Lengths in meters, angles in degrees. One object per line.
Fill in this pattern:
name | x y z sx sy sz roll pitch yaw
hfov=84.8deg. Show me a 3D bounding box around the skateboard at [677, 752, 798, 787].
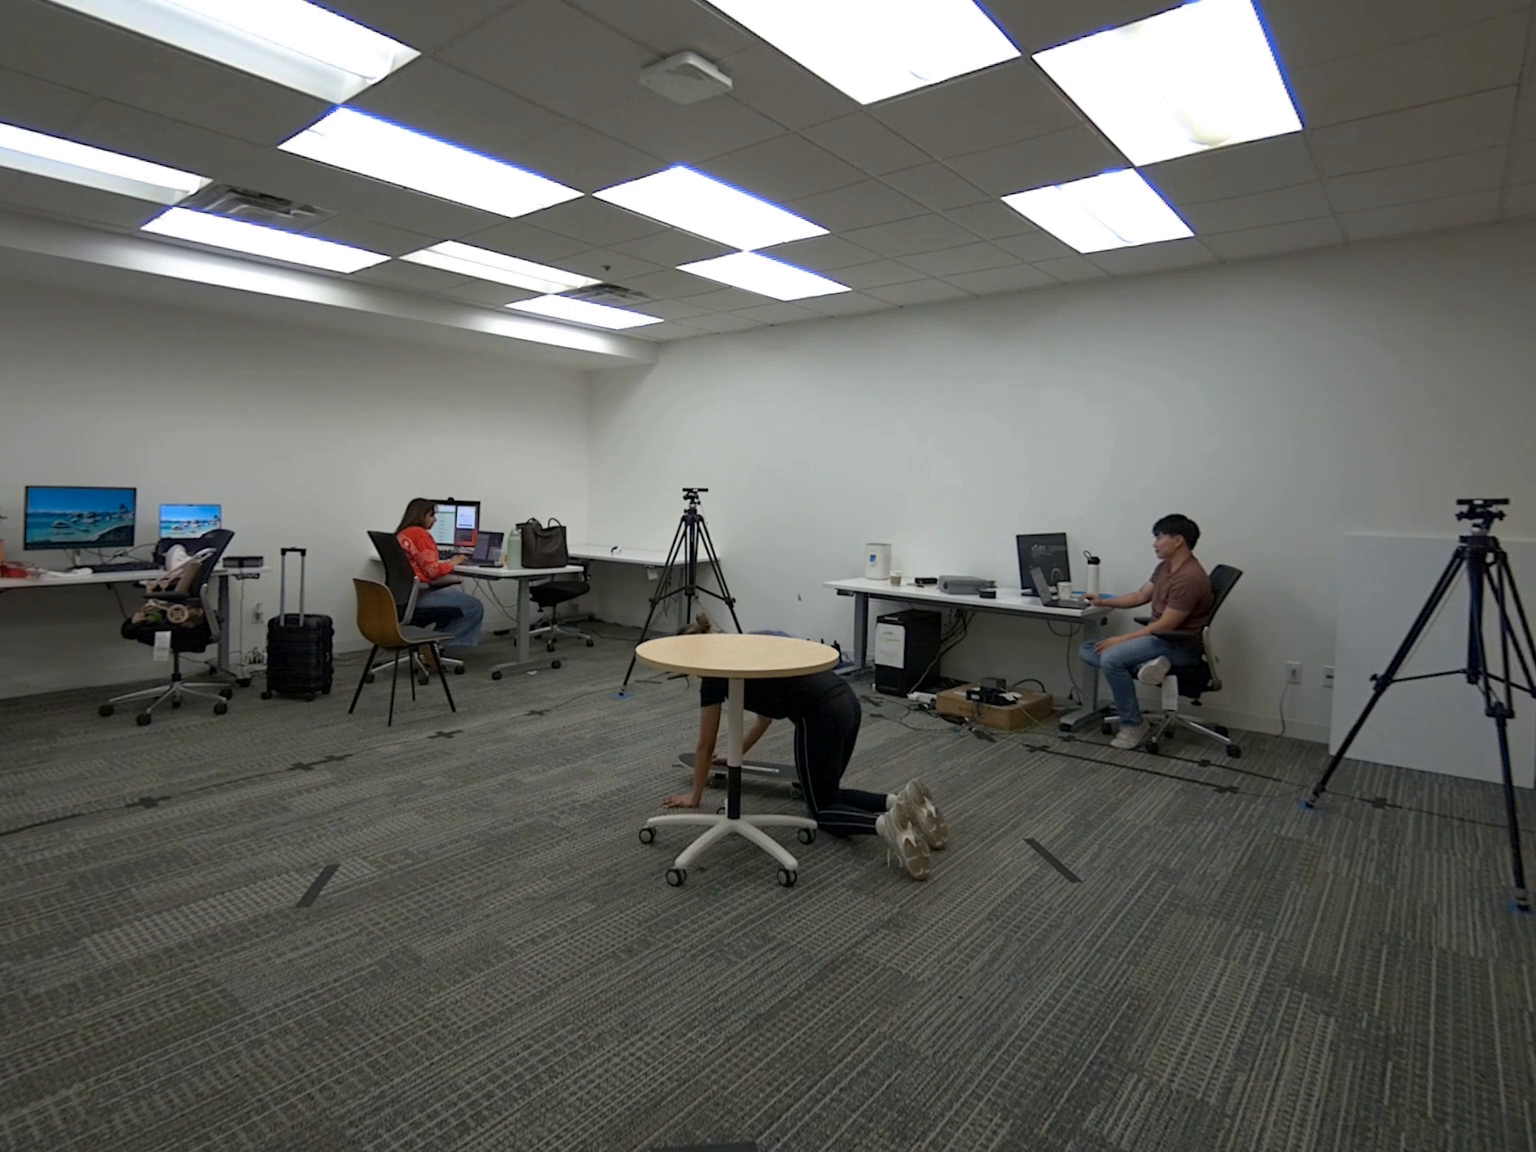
skateboard | -0.056 0.932 3.990 0.800 0.110 0.190 3 5 17
